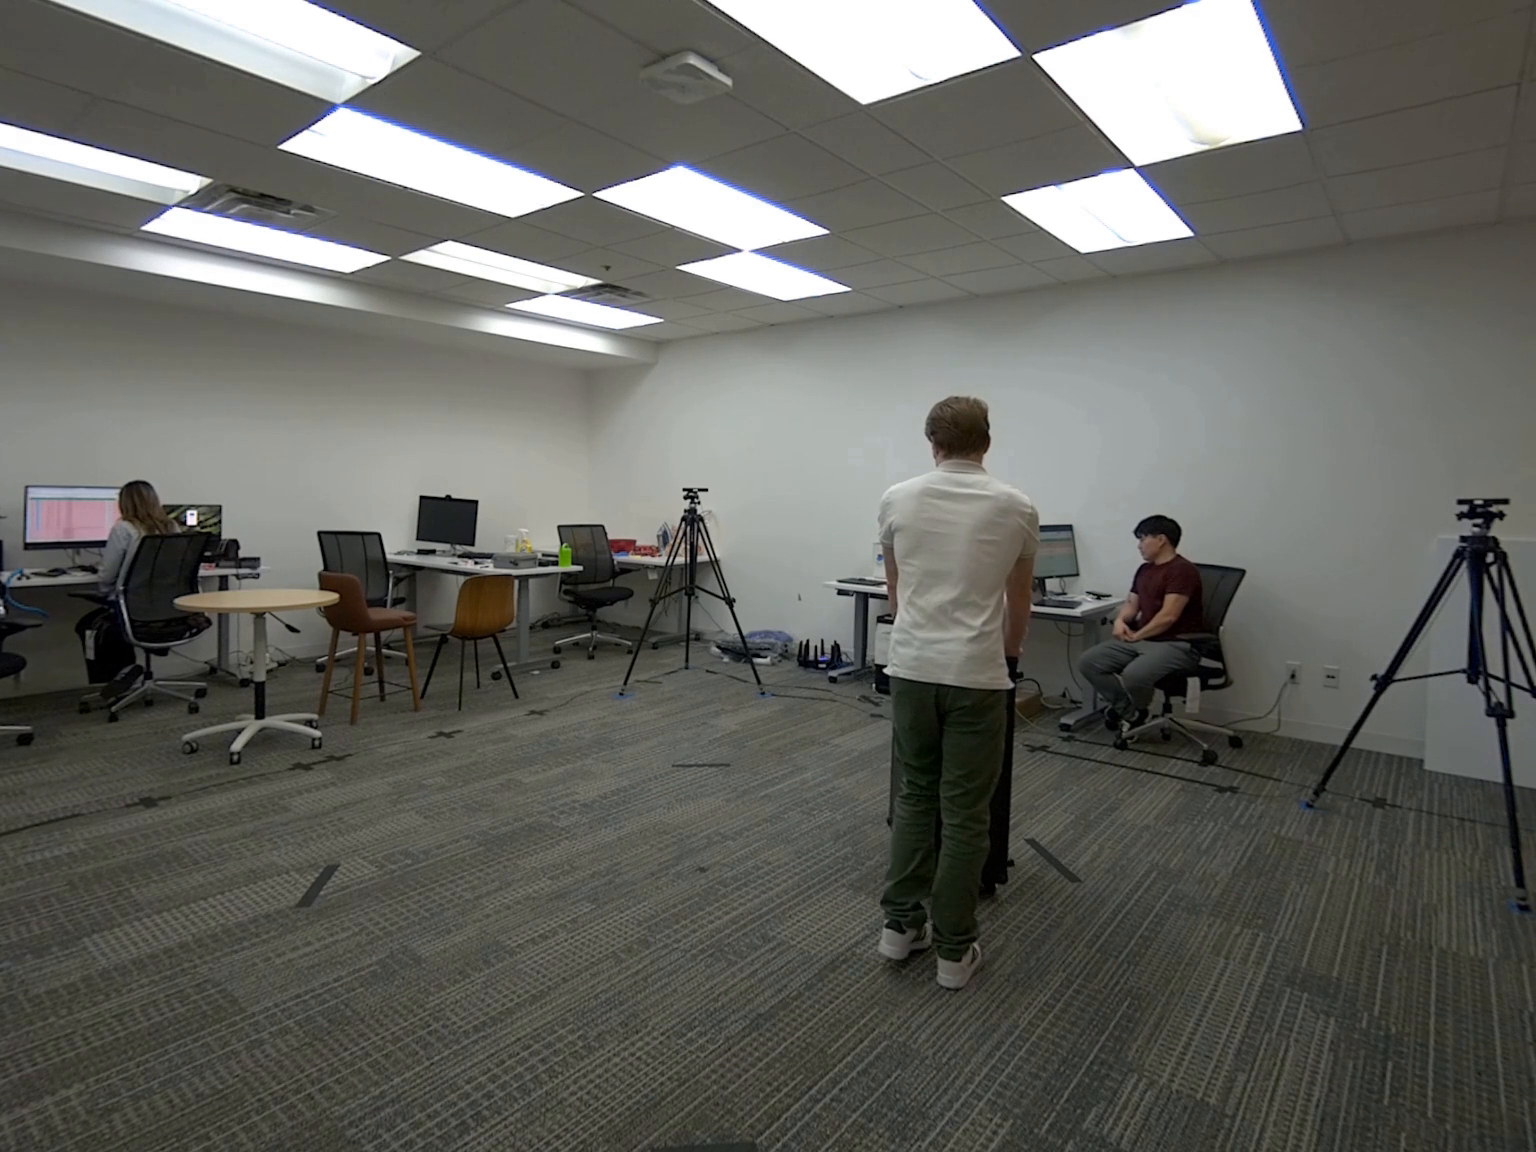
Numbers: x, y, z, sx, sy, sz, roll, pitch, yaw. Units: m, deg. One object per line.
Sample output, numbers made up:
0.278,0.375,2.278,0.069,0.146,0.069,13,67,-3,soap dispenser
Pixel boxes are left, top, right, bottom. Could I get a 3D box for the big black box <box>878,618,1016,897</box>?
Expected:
0.650,0.658,3.129,0.387,0.866,0.522,1,3,3,big black box
